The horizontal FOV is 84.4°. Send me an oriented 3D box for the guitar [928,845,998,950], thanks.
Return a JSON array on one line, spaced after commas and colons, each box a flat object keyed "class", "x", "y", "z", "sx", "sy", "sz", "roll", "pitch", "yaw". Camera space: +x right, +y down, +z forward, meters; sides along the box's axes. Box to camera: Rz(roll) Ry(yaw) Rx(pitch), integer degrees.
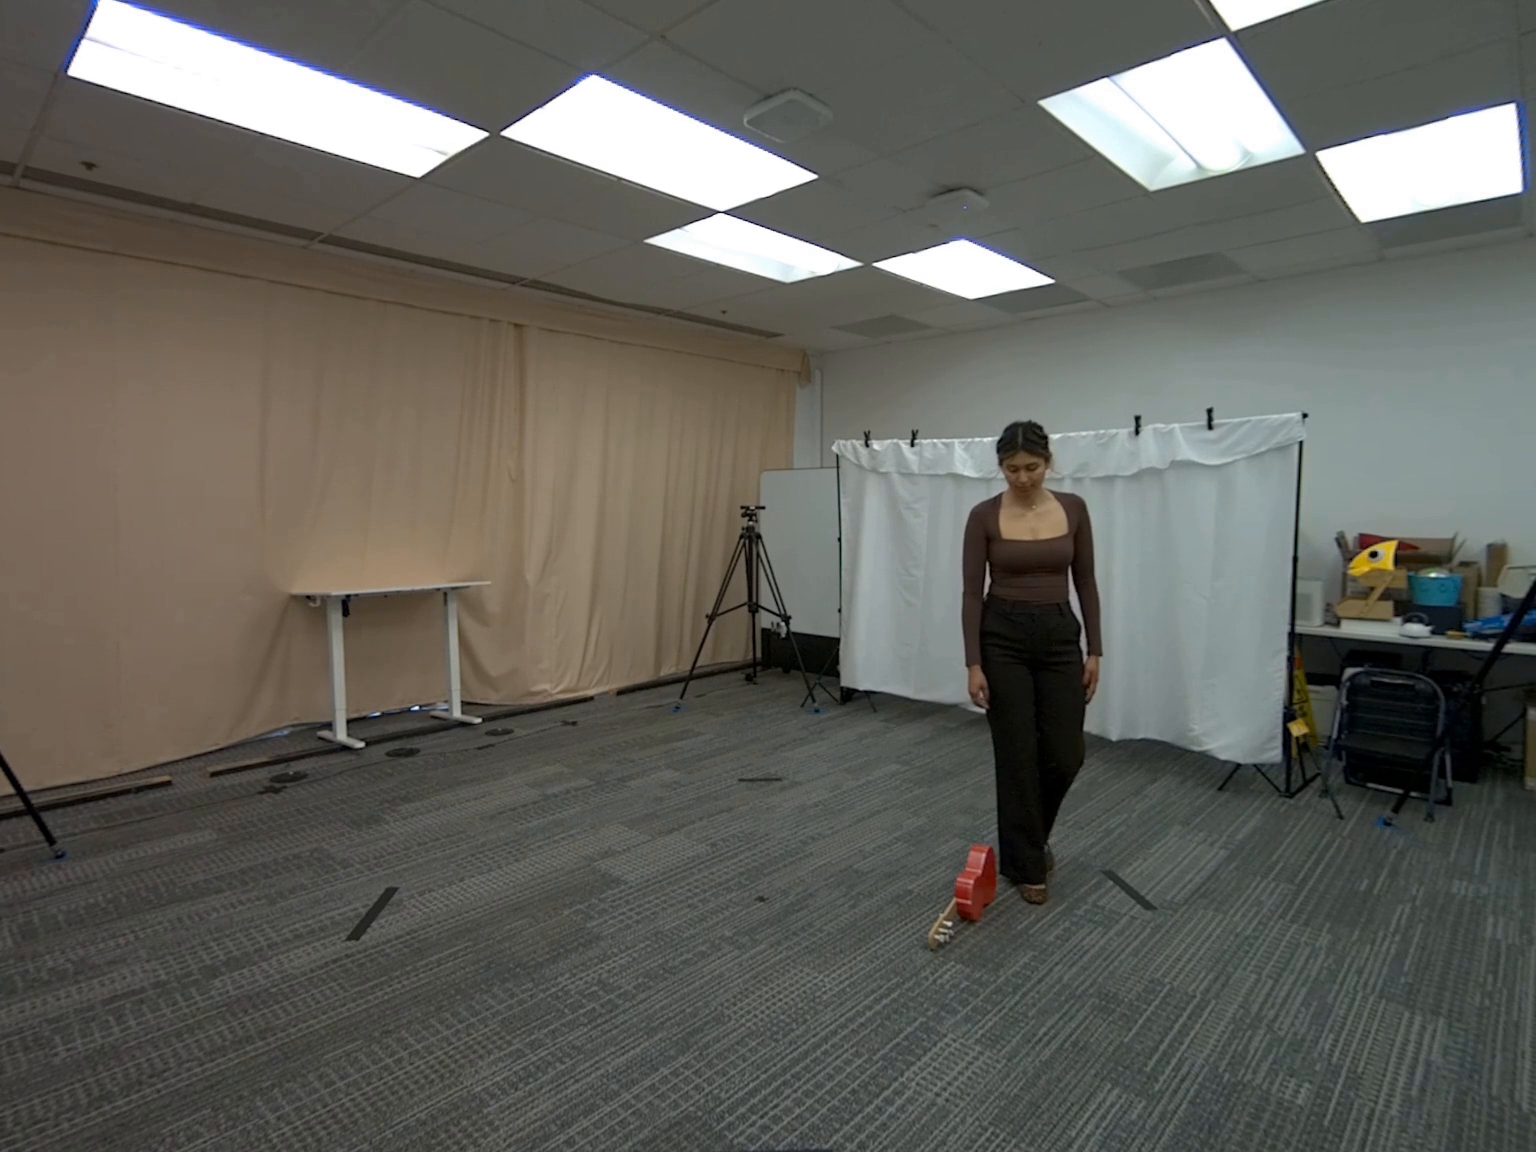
[{"class": "guitar", "x": 0.666, "y": 1.115, "z": 2.815, "sx": 0.073, "sy": 0.190, "sz": 0.490, "roll": -1, "pitch": 22, "yaw": 33}]
